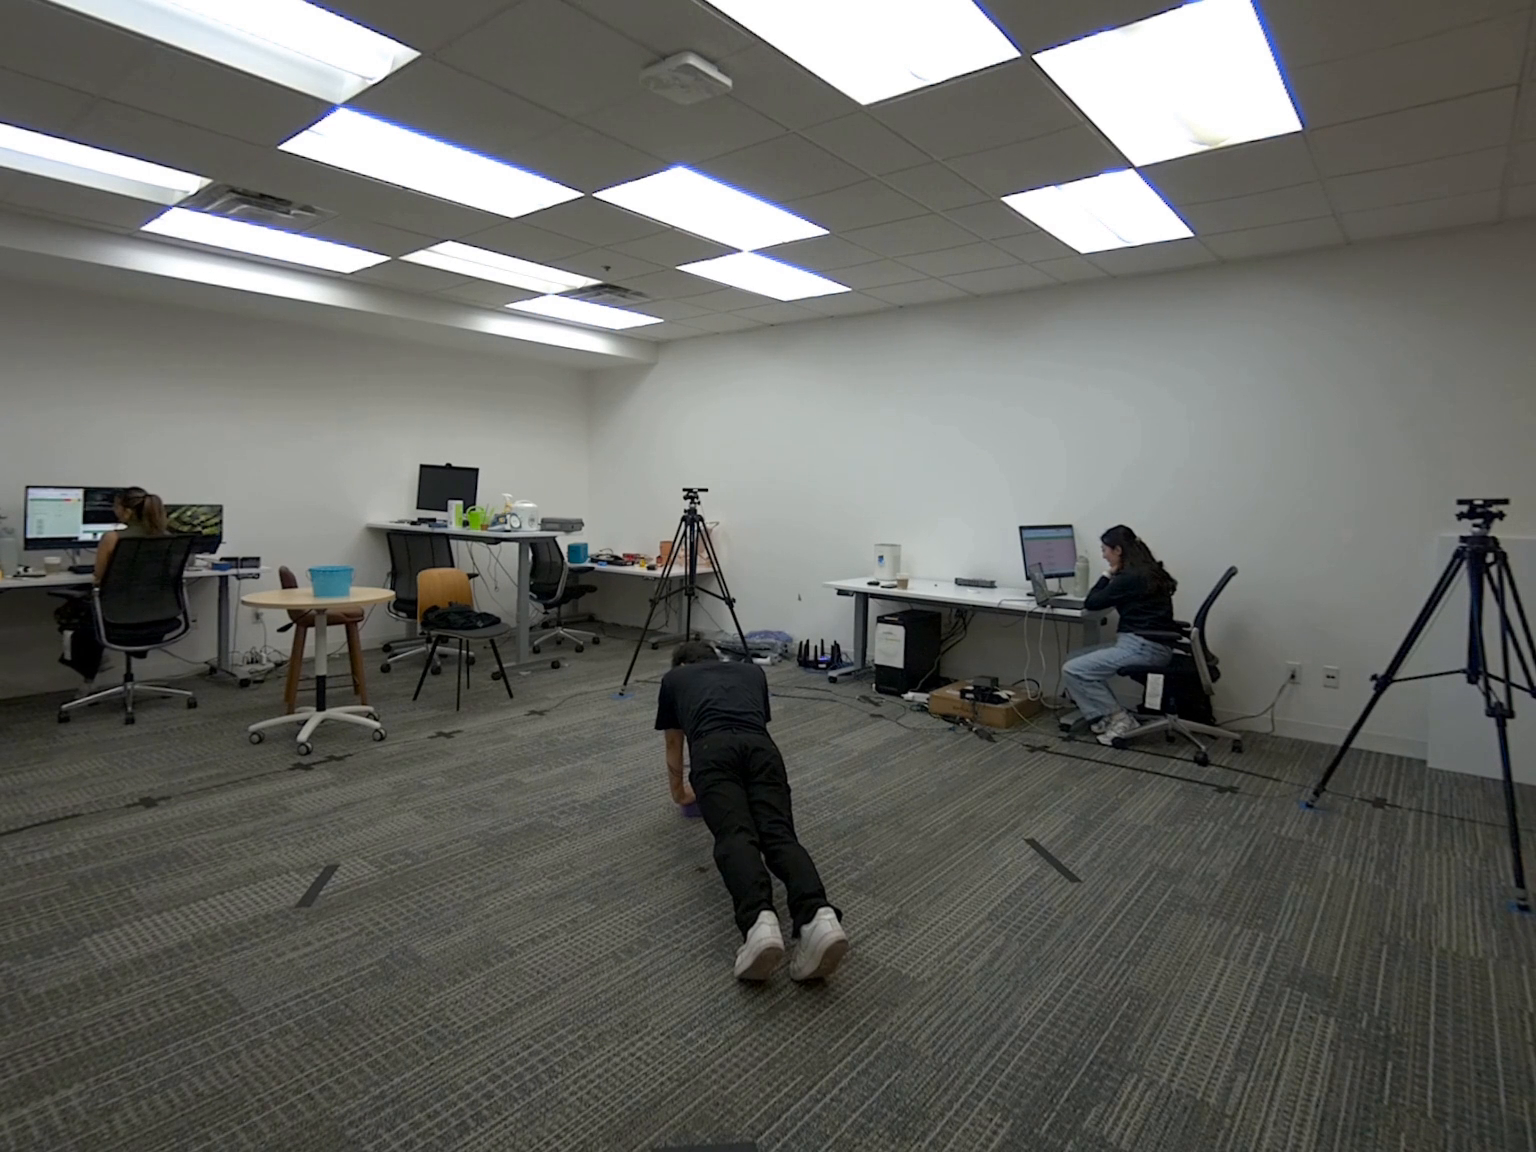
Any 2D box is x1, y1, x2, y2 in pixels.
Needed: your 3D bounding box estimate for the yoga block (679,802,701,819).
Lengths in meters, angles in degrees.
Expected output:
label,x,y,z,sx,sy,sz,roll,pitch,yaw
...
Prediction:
label,x,y,z,sx,sy,sz,roll,pitch,yaw
yoga block,-0.270,0.970,3.686,0.226,0.076,0.151,-1,5,-13
